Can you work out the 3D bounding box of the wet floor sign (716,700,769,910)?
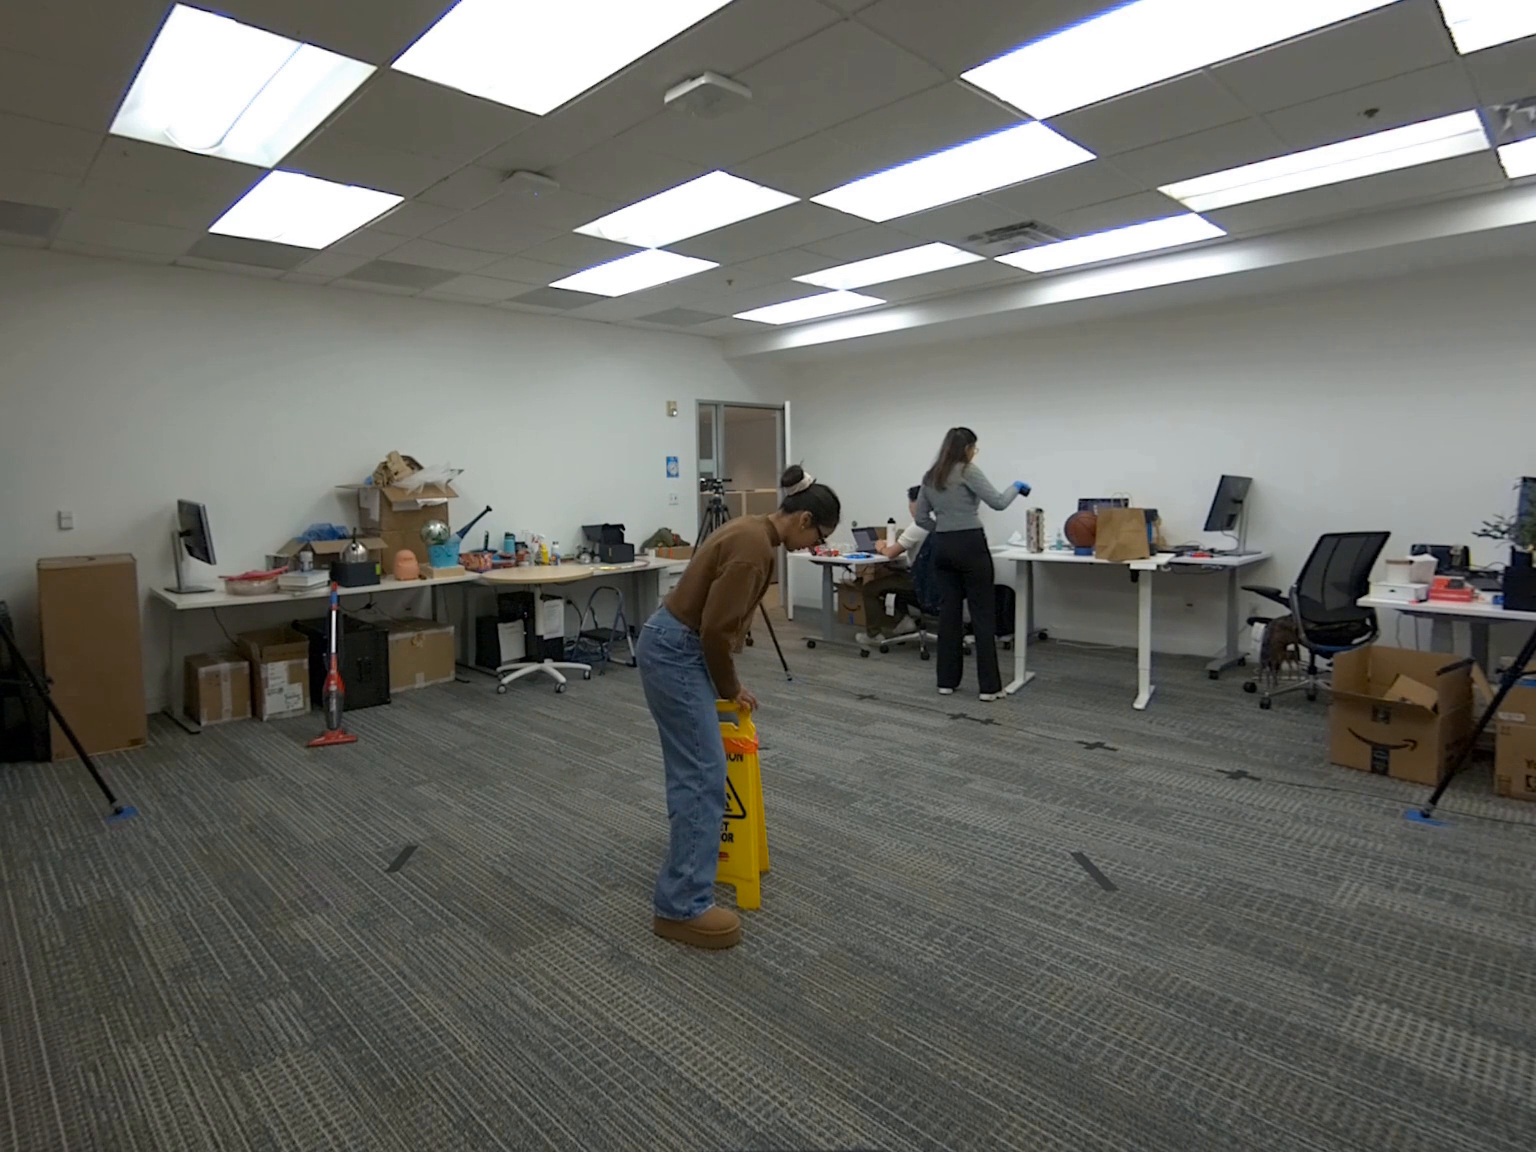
[{"bbox_3d":[-0.140,0.748,2.906,0.284,0.643,0.289,-2,5,7],"label":"wet floor sign"}]
